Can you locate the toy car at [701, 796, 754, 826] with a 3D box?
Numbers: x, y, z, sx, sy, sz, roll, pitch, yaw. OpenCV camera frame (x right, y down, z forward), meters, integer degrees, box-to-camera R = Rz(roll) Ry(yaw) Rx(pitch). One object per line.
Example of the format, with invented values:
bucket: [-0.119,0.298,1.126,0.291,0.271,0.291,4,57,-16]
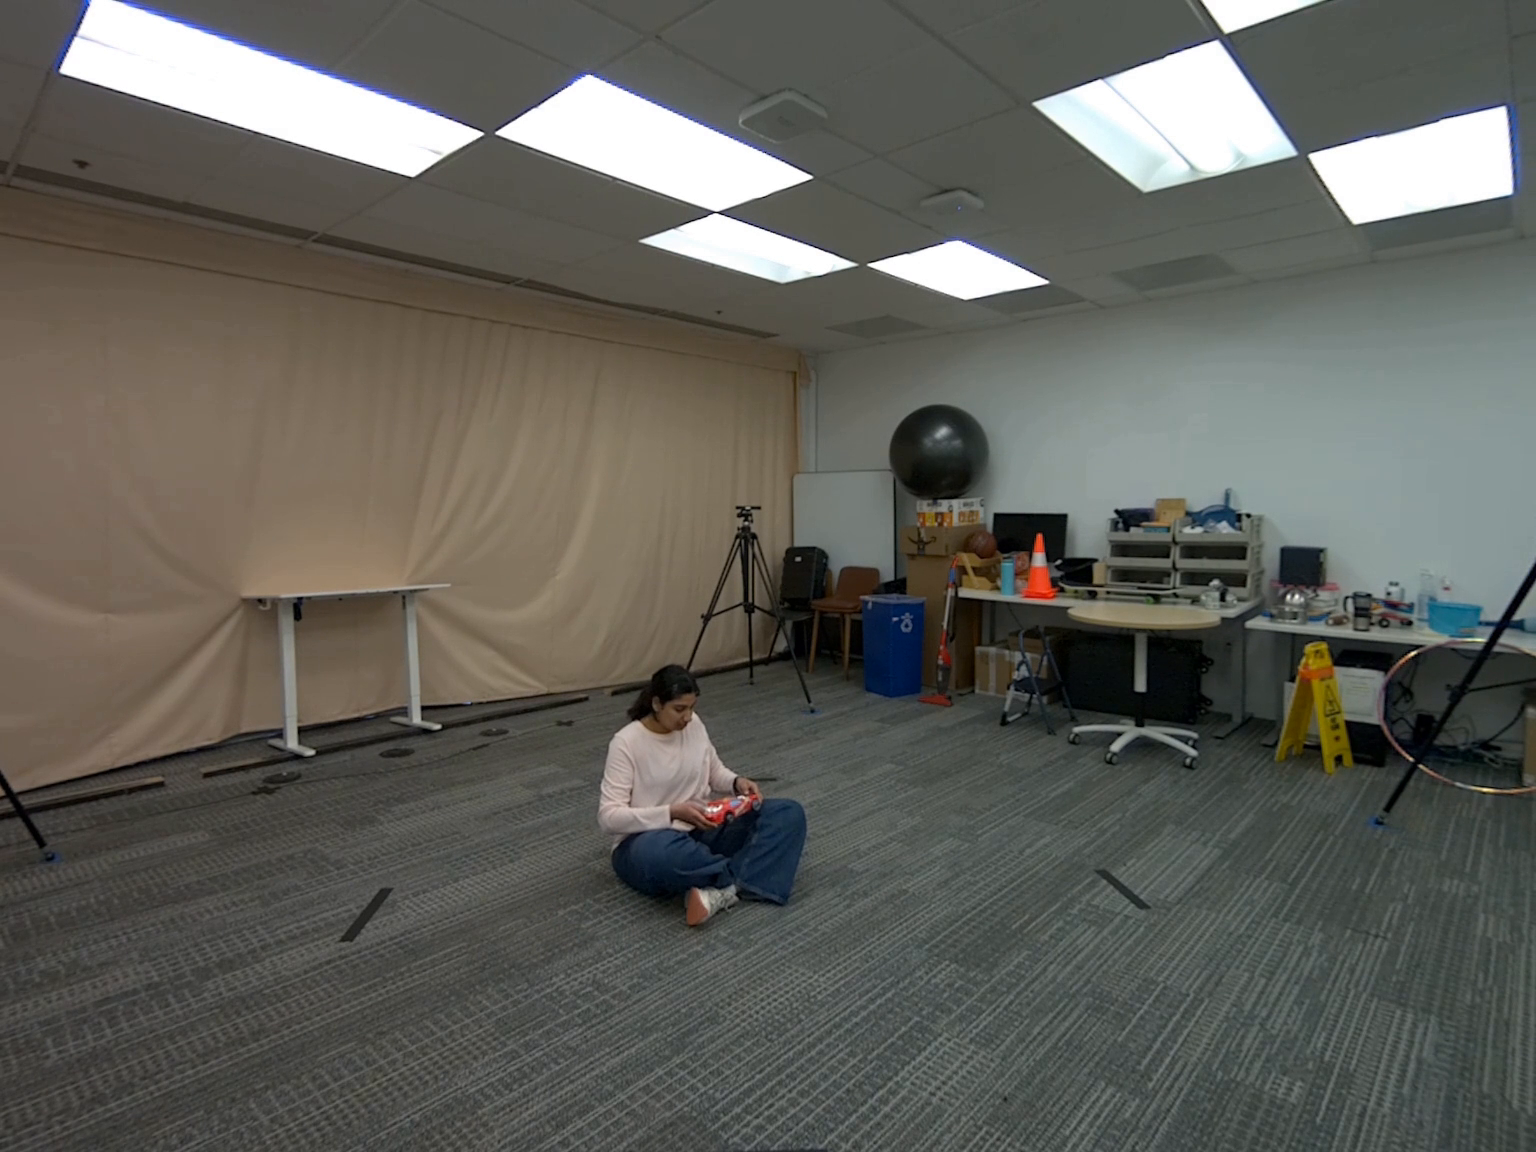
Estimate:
toy car: [-0.150,0.849,3.044,0.246,0.084,0.133,4,-14,-45]
